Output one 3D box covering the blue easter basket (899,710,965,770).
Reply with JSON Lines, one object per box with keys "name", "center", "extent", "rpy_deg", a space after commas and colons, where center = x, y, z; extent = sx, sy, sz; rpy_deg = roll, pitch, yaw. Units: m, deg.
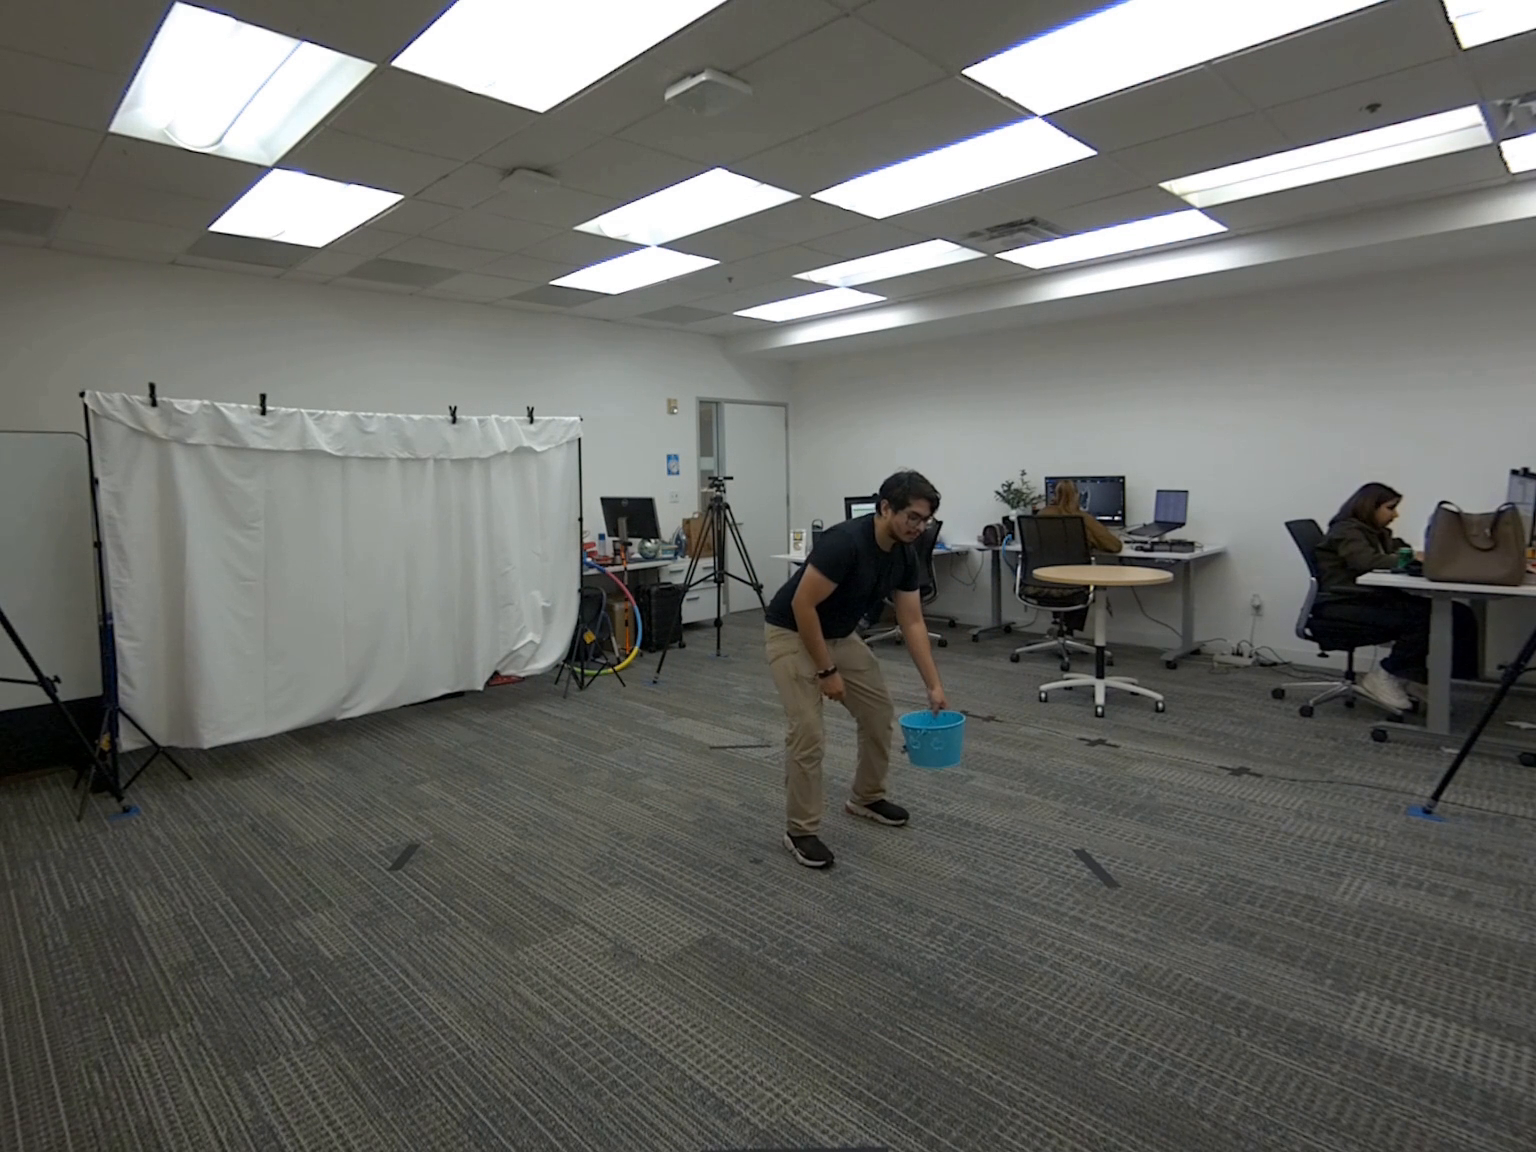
{"name": "blue easter basket", "center": [0.597, 0.586, 3.071], "extent": [0.243, 0.155, 0.245], "rpy_deg": [-6, 5, -1]}
